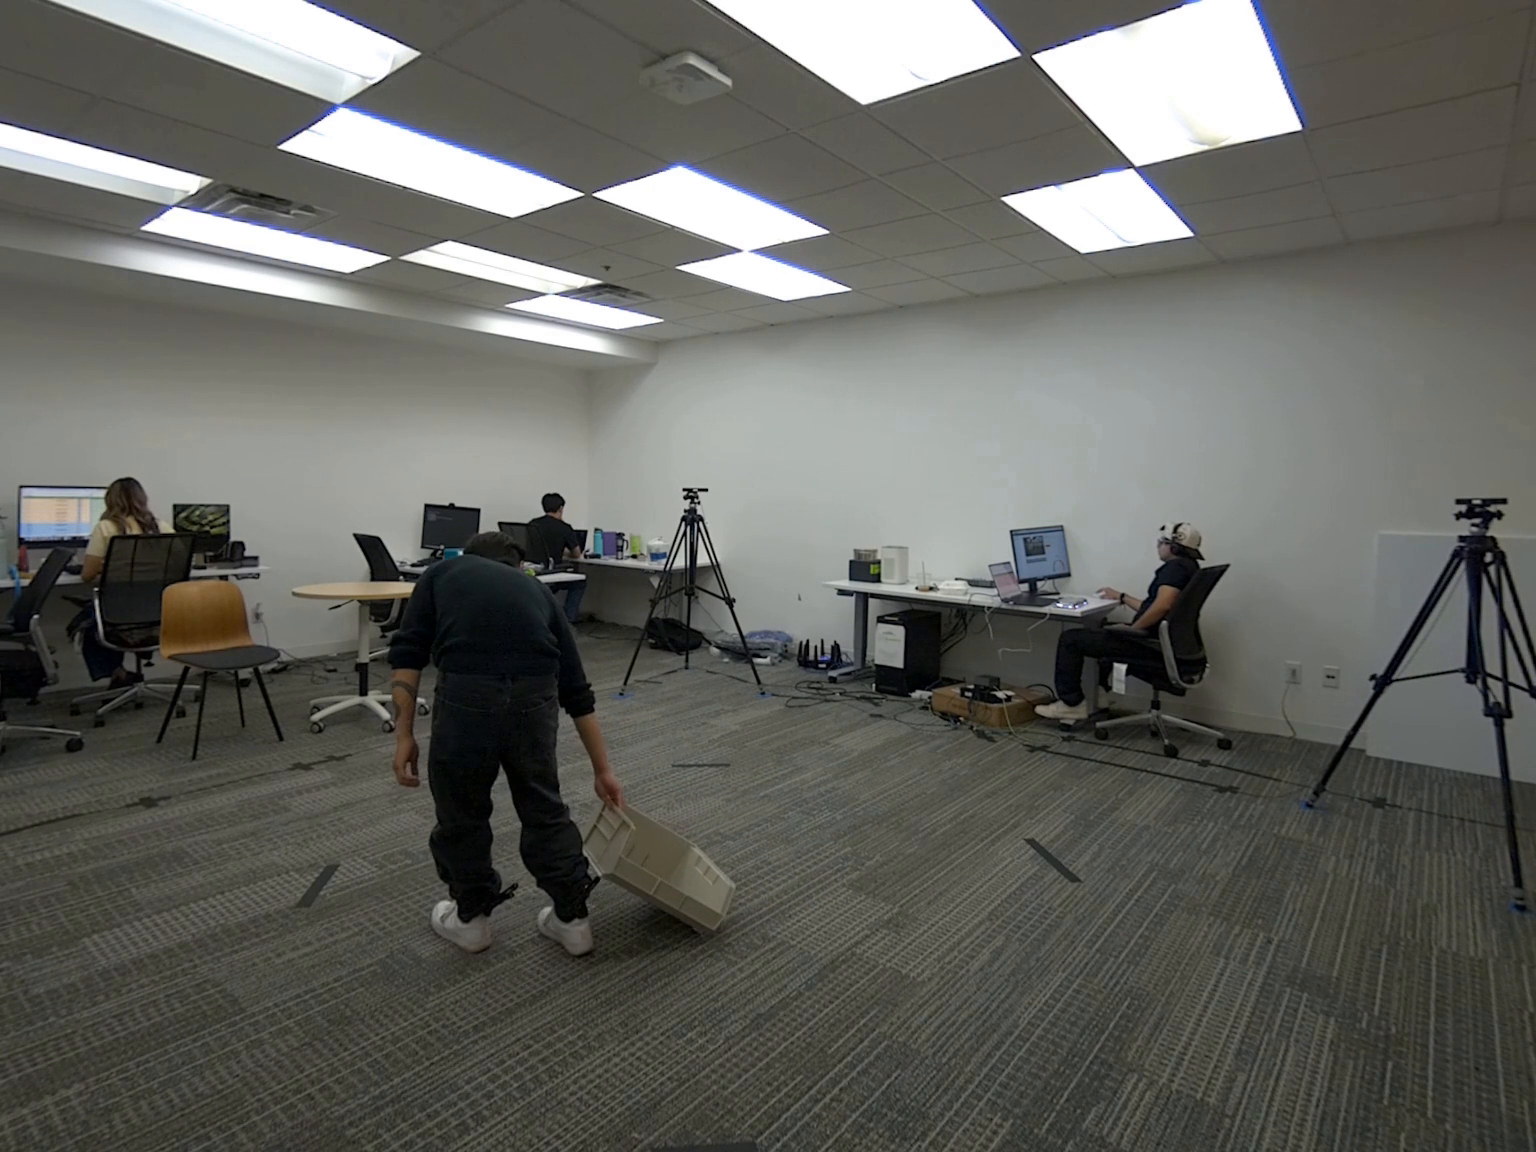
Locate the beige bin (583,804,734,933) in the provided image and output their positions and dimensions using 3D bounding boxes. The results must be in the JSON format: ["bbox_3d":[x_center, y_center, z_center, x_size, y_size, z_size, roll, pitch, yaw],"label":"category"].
[{"bbox_3d":[-0.370,0.912,2.709,0.410,0.189,0.387,37,-14,-22],"label":"beige bin"}]
